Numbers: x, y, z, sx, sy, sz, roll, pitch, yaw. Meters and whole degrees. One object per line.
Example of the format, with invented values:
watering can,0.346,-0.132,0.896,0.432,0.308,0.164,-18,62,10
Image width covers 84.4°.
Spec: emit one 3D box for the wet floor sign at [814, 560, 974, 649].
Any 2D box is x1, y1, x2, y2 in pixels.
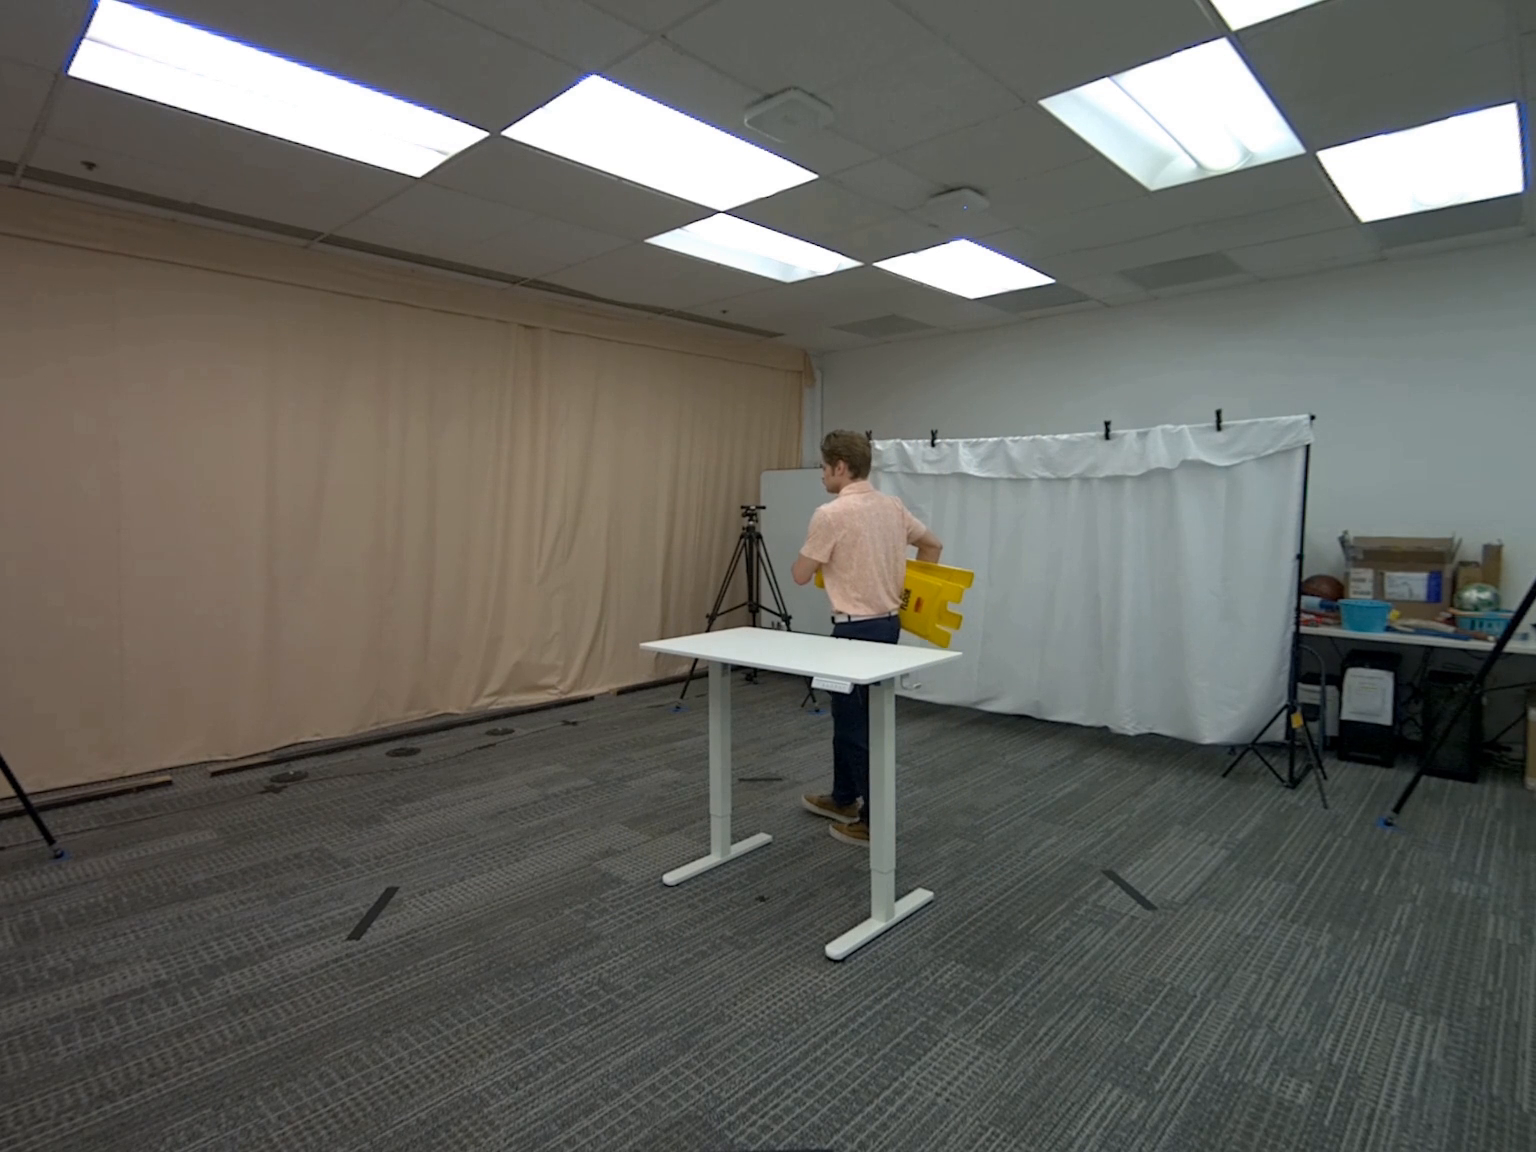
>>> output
wet floor sign,0.527,0.051,3.668,0.663,0.280,0.284,19,22,22
